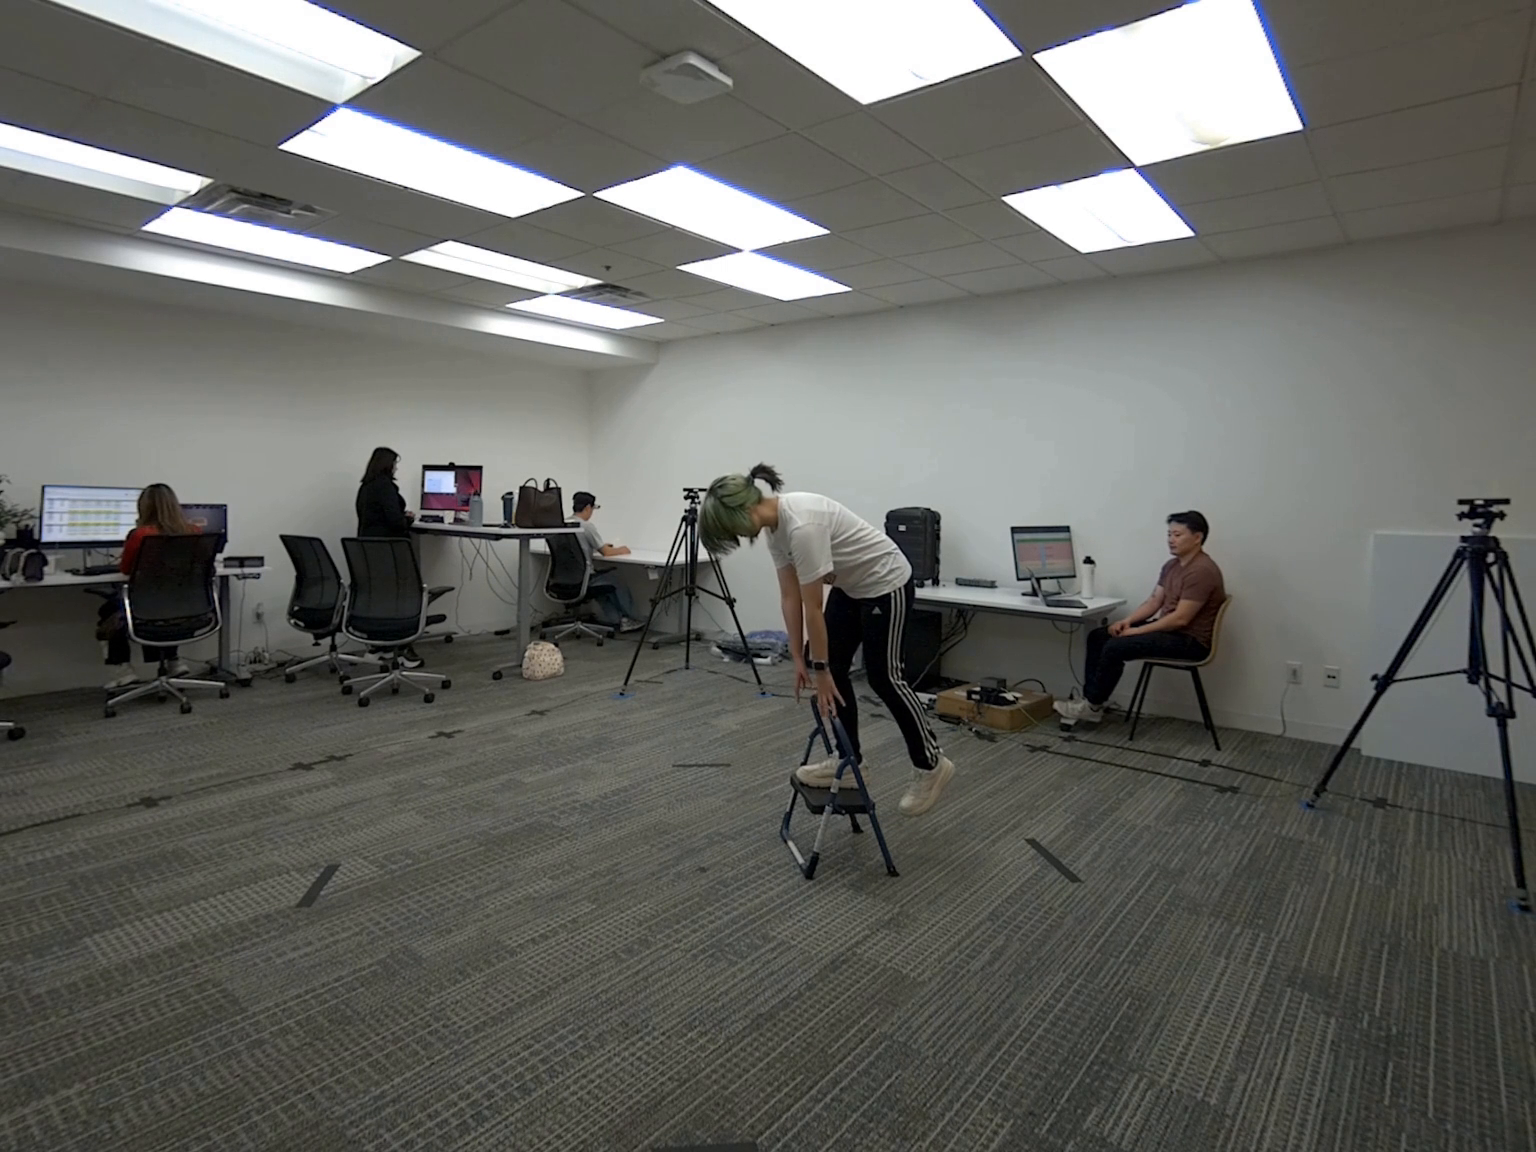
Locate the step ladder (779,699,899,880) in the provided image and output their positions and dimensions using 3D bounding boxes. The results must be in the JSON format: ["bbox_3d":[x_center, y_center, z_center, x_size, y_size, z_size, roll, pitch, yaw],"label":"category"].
[{"bbox_3d":[0.260,0.768,3.254,0.345,0.604,0.437,1,4,-12],"label":"step ladder"}]
